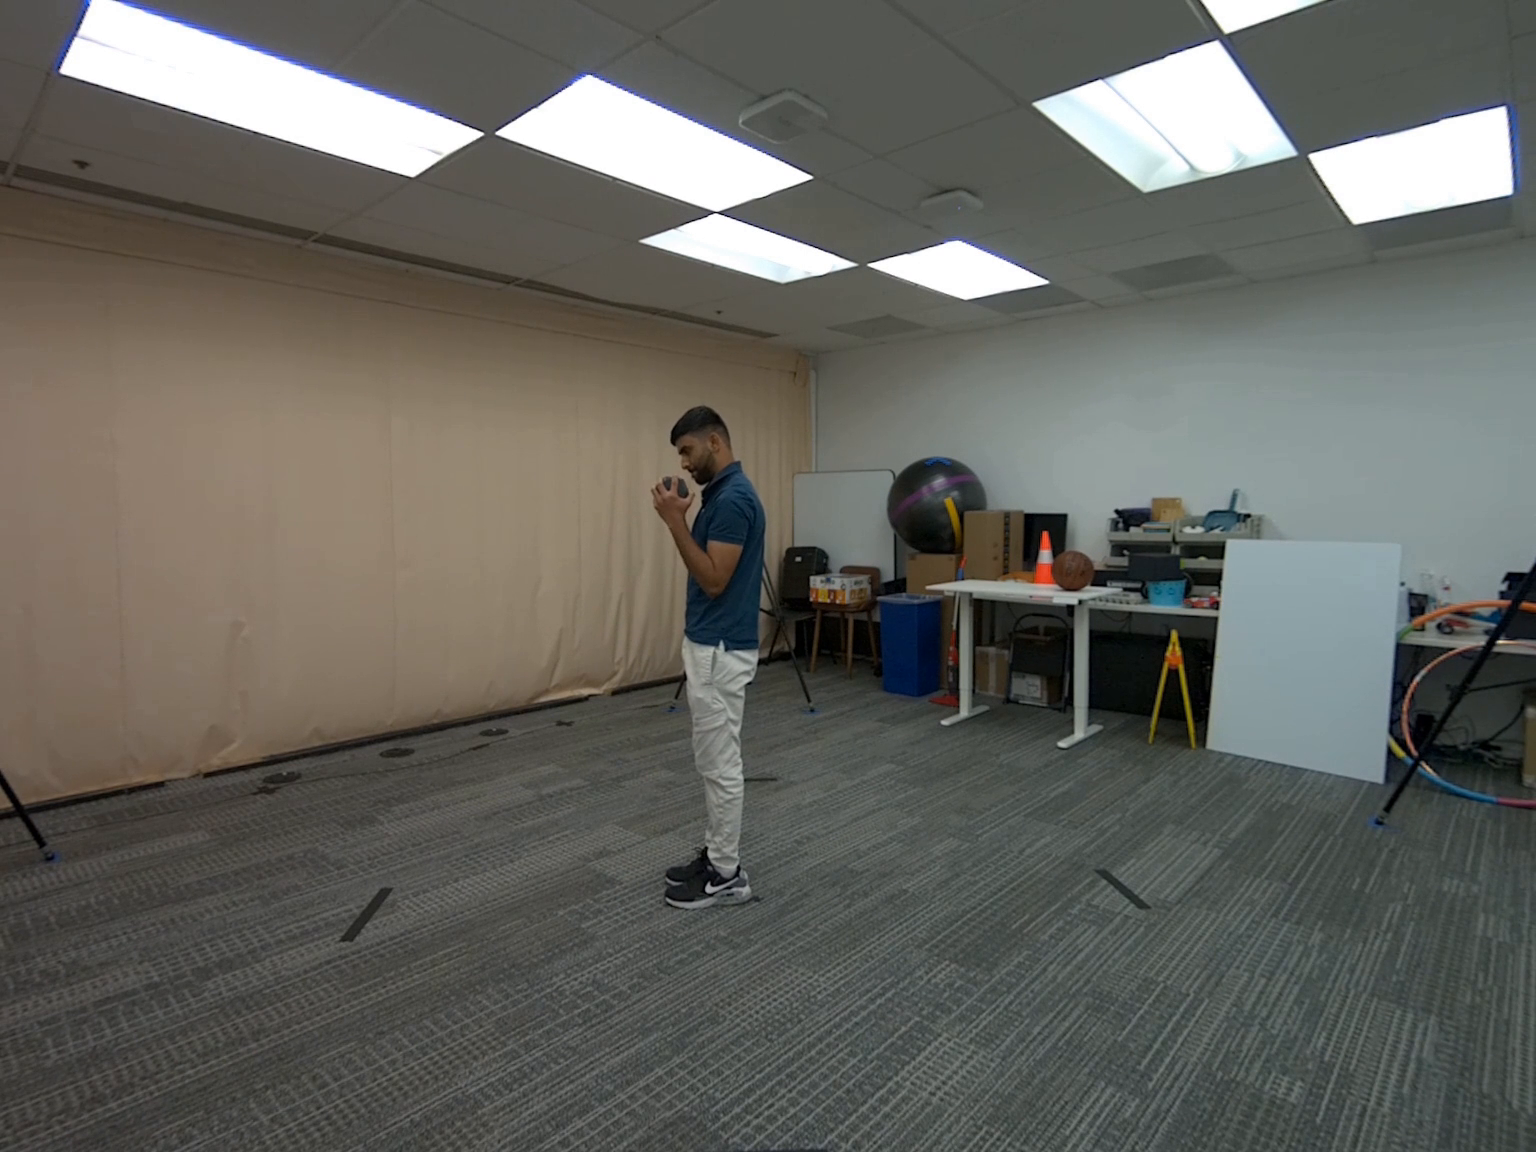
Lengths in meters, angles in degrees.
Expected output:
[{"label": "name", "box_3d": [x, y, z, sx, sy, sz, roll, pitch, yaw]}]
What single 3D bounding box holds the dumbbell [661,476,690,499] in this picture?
[{"label": "dumbbell", "box_3d": [-0.335, -0.284, 2.987, 0.108, 0.123, 0.296, 41, -2, -9]}]
